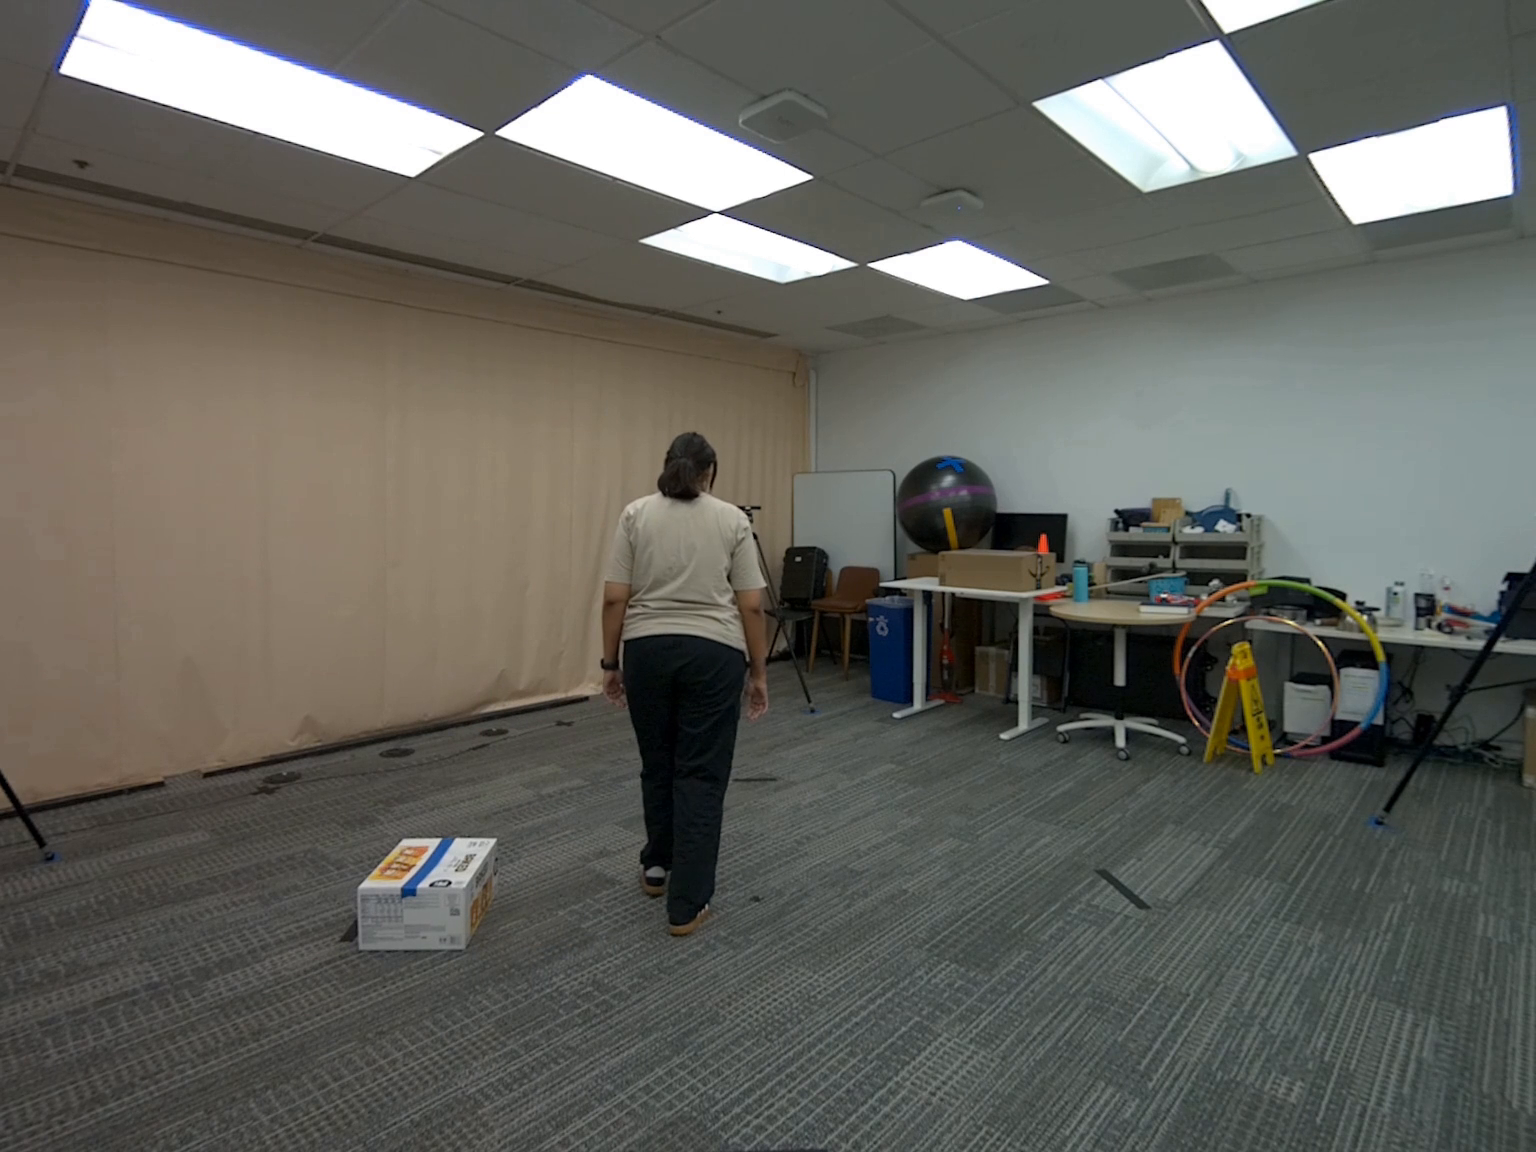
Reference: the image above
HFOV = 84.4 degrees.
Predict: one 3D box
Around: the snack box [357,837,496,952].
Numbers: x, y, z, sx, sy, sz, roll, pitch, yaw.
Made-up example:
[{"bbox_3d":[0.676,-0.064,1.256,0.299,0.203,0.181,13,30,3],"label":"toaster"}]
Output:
[{"bbox_3d":[-1.136,1.071,2.840,0.340,0.205,0.406,-1,4,-2],"label":"snack box"}]
